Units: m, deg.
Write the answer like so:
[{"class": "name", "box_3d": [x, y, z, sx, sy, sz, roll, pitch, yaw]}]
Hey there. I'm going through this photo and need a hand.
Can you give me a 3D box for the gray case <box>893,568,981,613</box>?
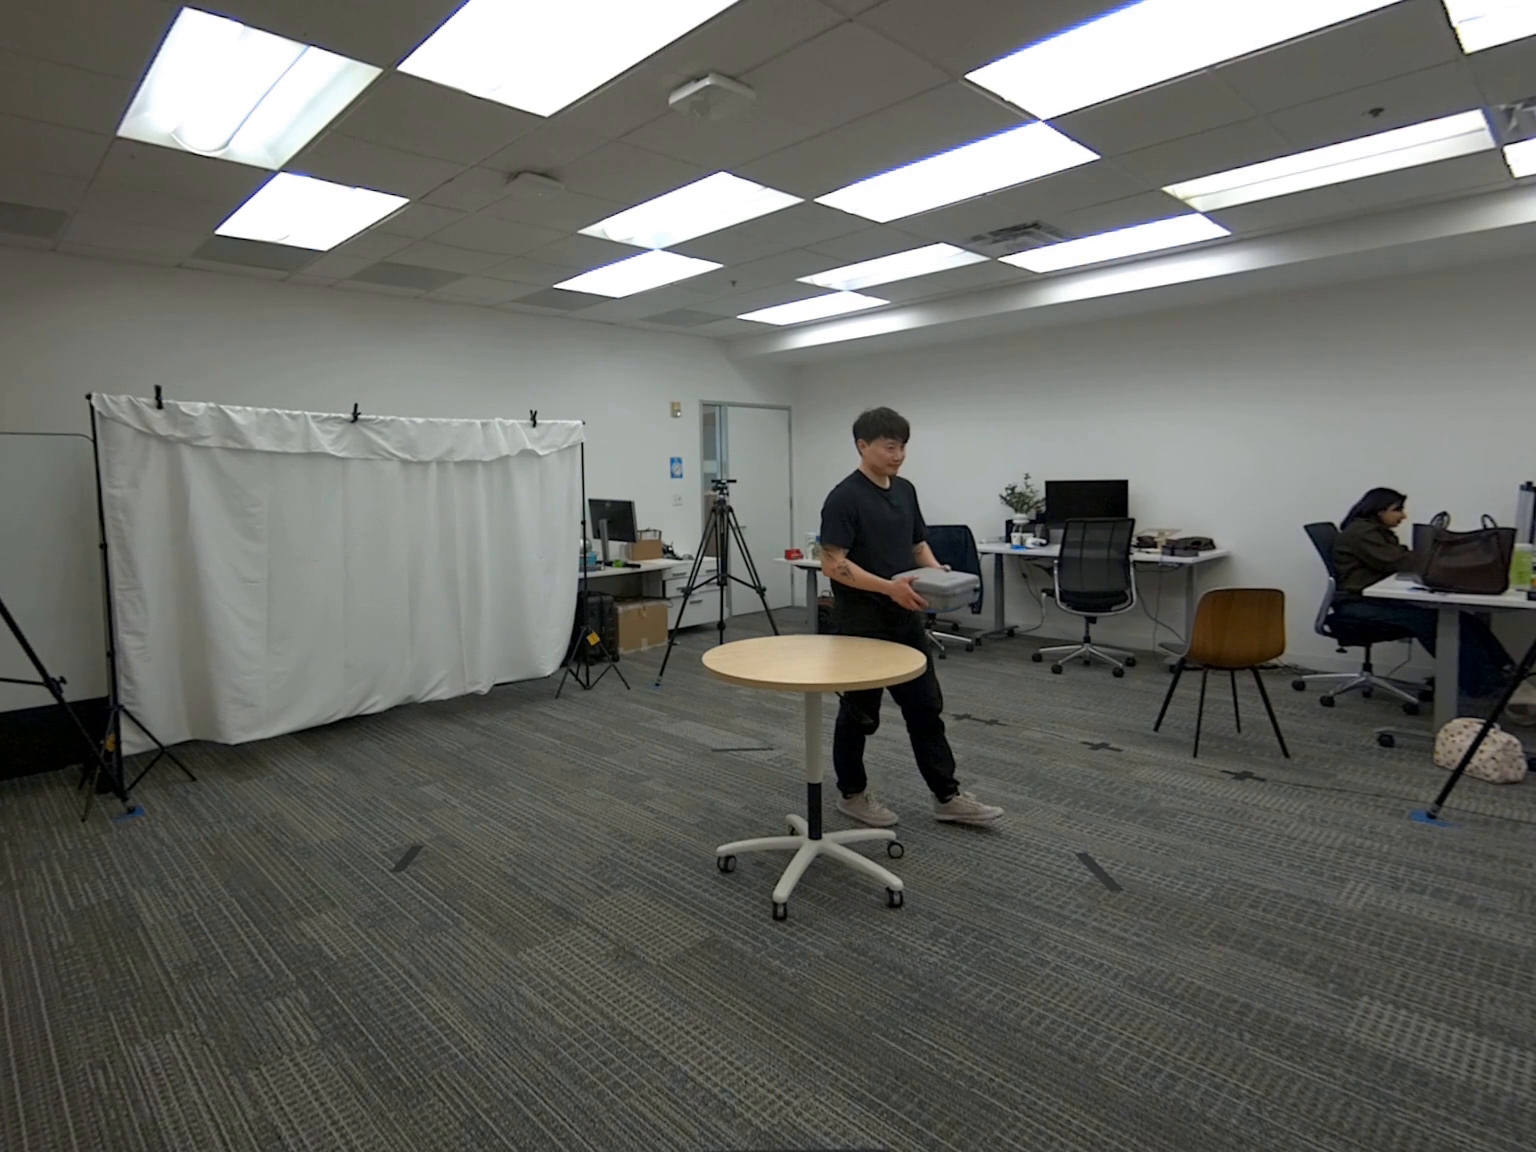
[{"class": "gray case", "box_3d": [0.626, 0.050, 3.208, 0.269, 0.103, 0.251, 12, 16, 43]}]
